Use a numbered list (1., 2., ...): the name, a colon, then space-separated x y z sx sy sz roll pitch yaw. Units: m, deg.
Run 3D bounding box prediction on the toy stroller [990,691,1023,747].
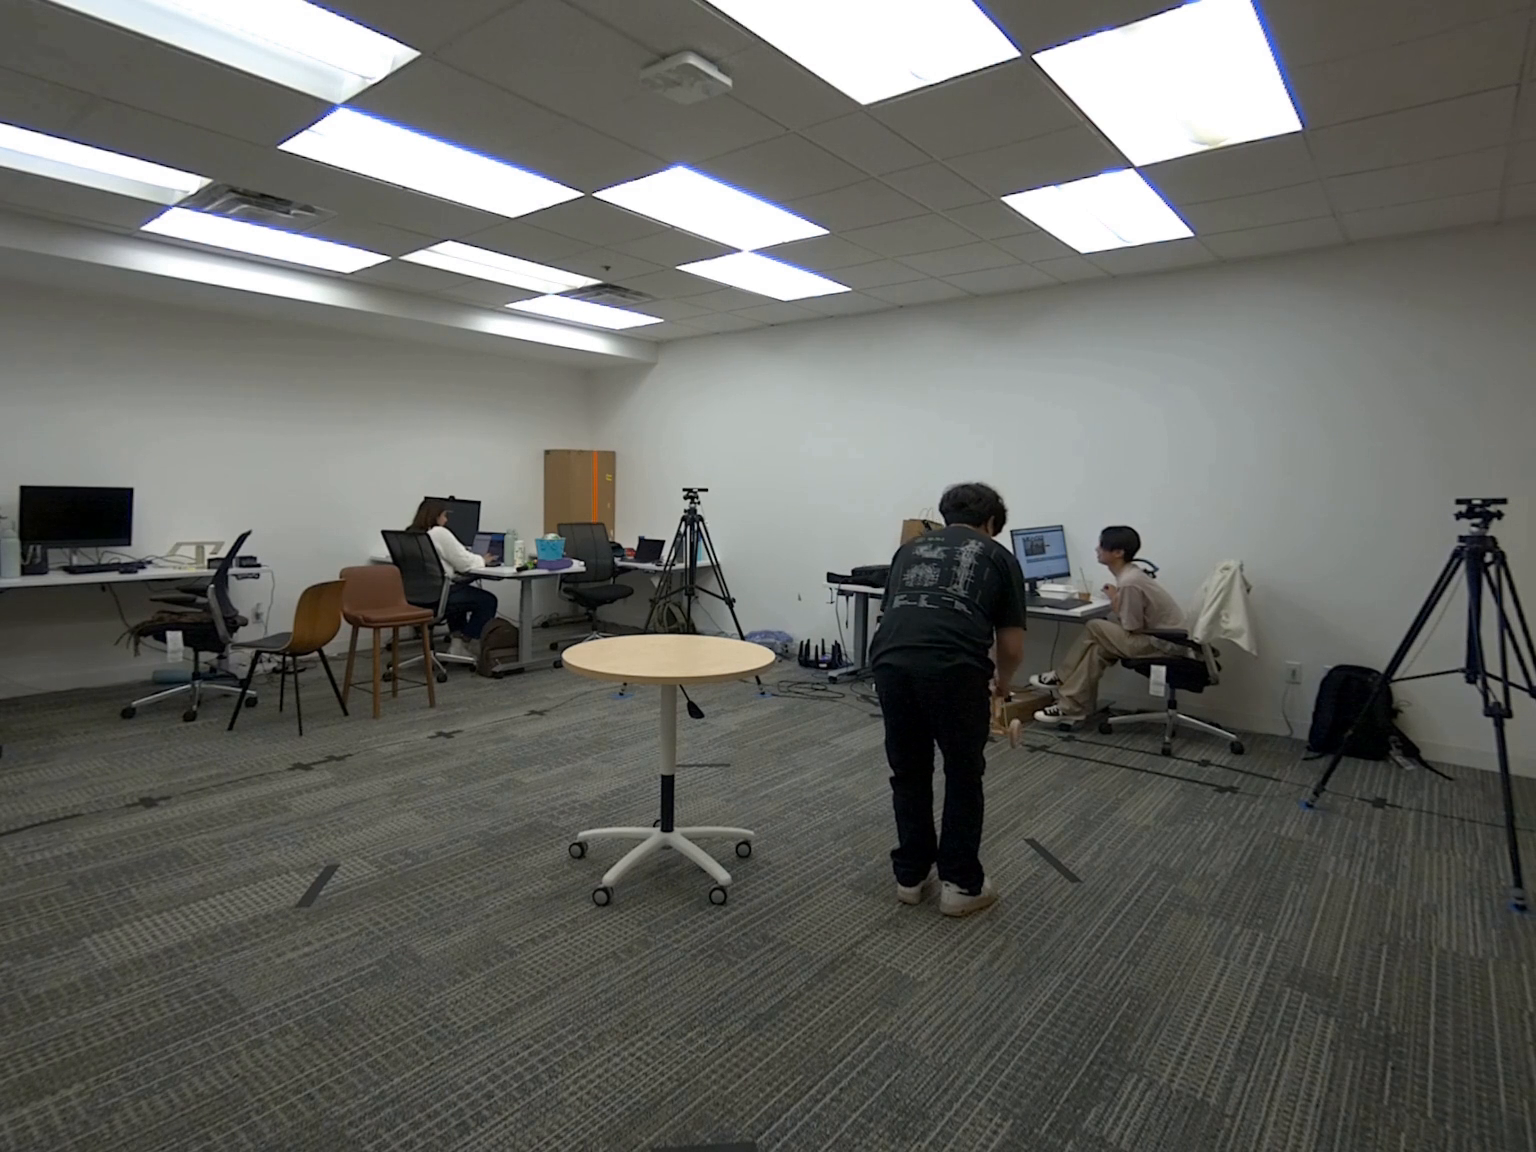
1. toy stroller: 0.784 0.428 3.277 0.290 0.538 0.328 1 -9 40
